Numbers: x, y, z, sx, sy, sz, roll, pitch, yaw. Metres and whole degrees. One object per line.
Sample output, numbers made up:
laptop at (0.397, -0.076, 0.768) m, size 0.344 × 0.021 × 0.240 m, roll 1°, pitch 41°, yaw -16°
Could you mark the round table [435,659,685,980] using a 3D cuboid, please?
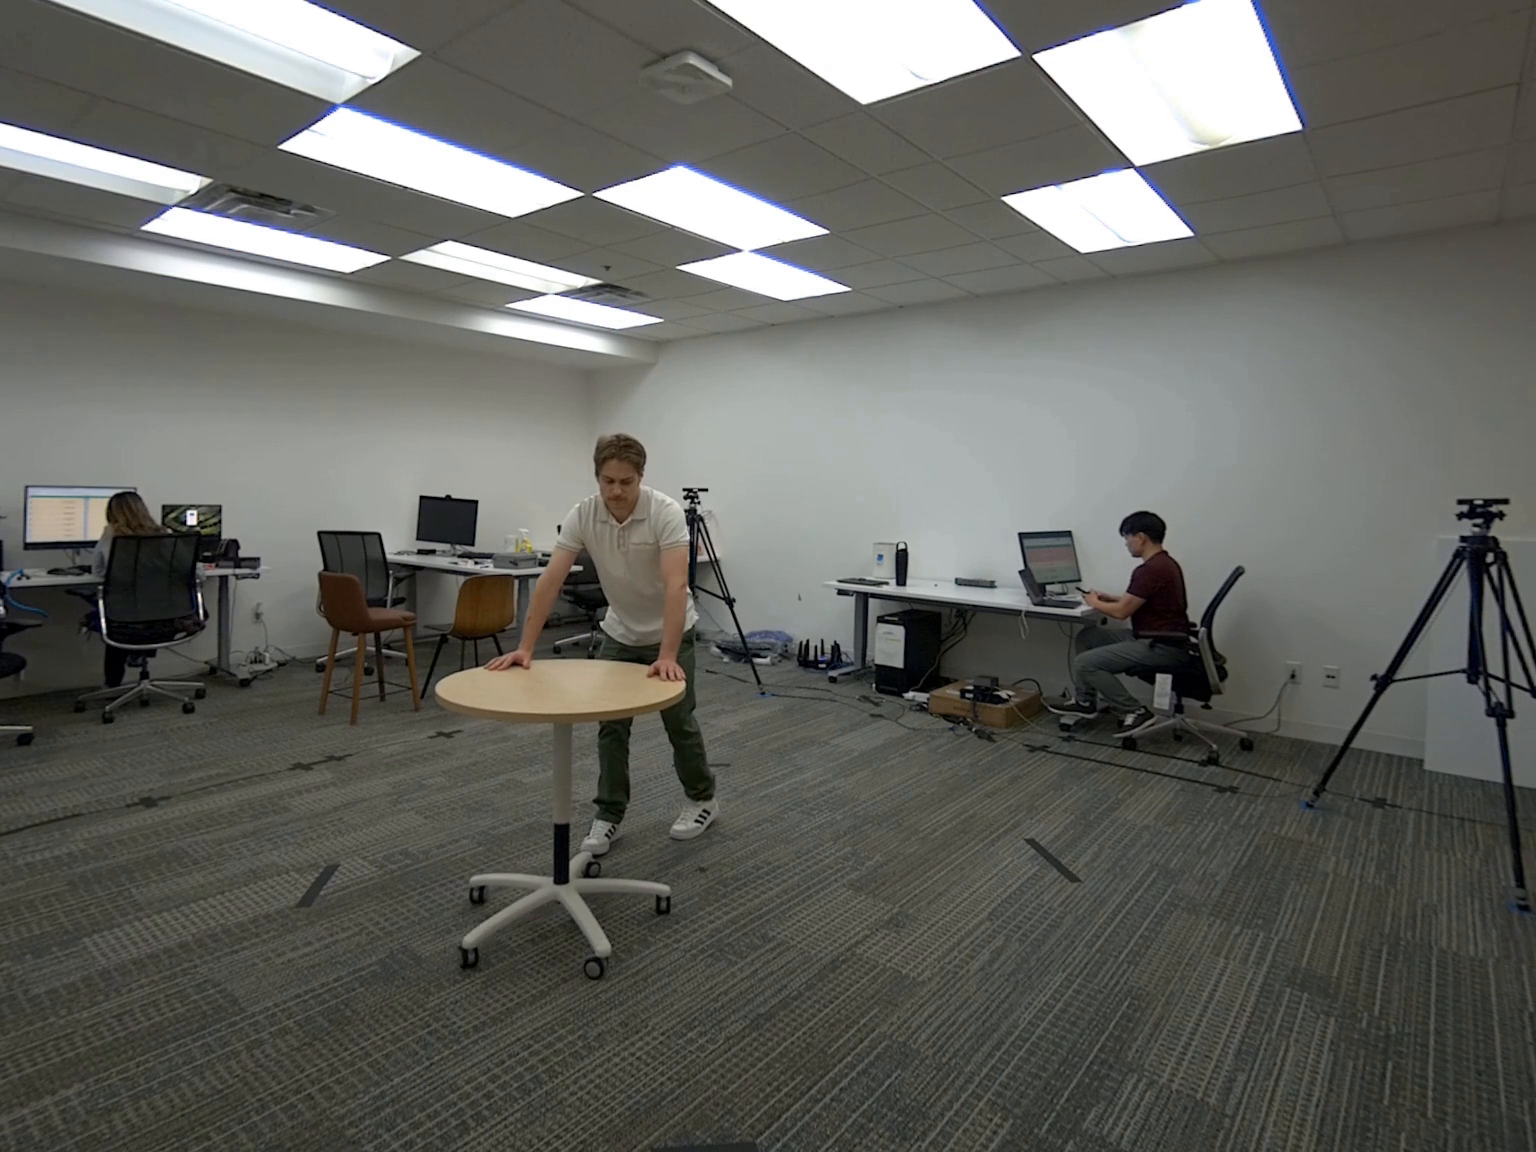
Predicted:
round table at (-0.659, 0.719, 2.674) m, size 0.763 × 0.791 × 0.768 m, roll 1°, pitch 4°, yaw -2°
